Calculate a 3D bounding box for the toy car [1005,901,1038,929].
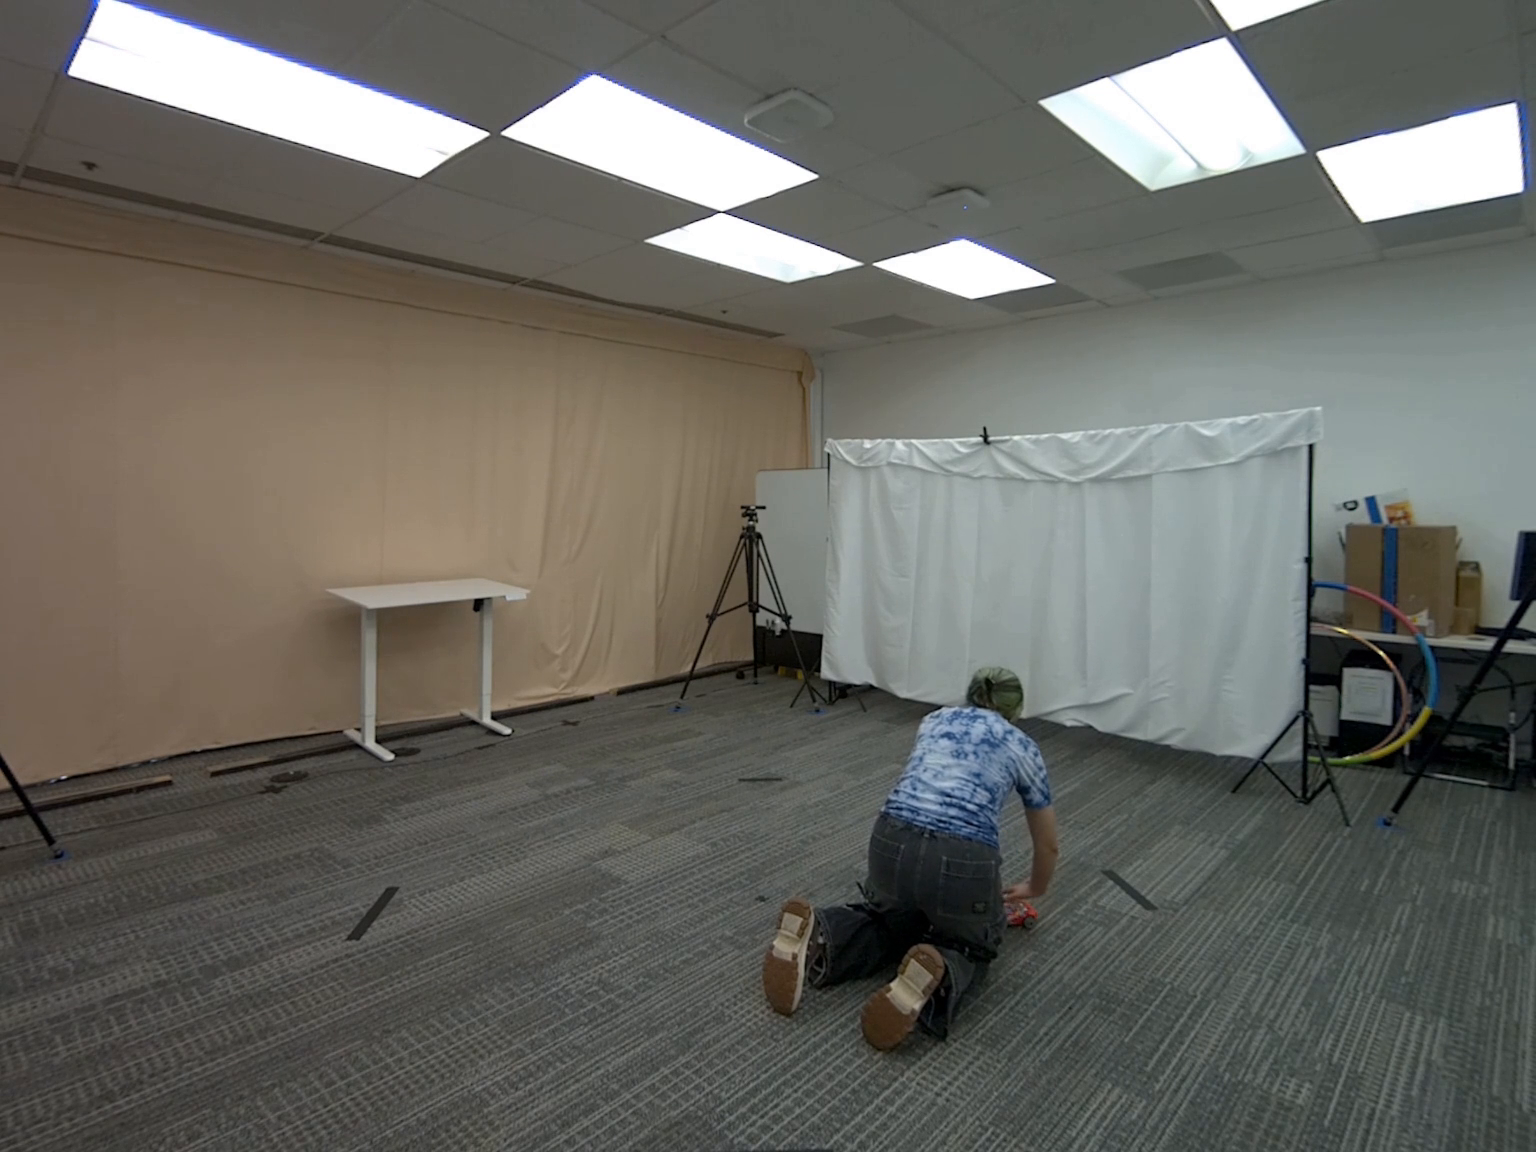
[{"bbox_3d":[0.767,1.128,2.804,0.253,0.083,0.131,11,4,-6],"label":"toy car"}]
